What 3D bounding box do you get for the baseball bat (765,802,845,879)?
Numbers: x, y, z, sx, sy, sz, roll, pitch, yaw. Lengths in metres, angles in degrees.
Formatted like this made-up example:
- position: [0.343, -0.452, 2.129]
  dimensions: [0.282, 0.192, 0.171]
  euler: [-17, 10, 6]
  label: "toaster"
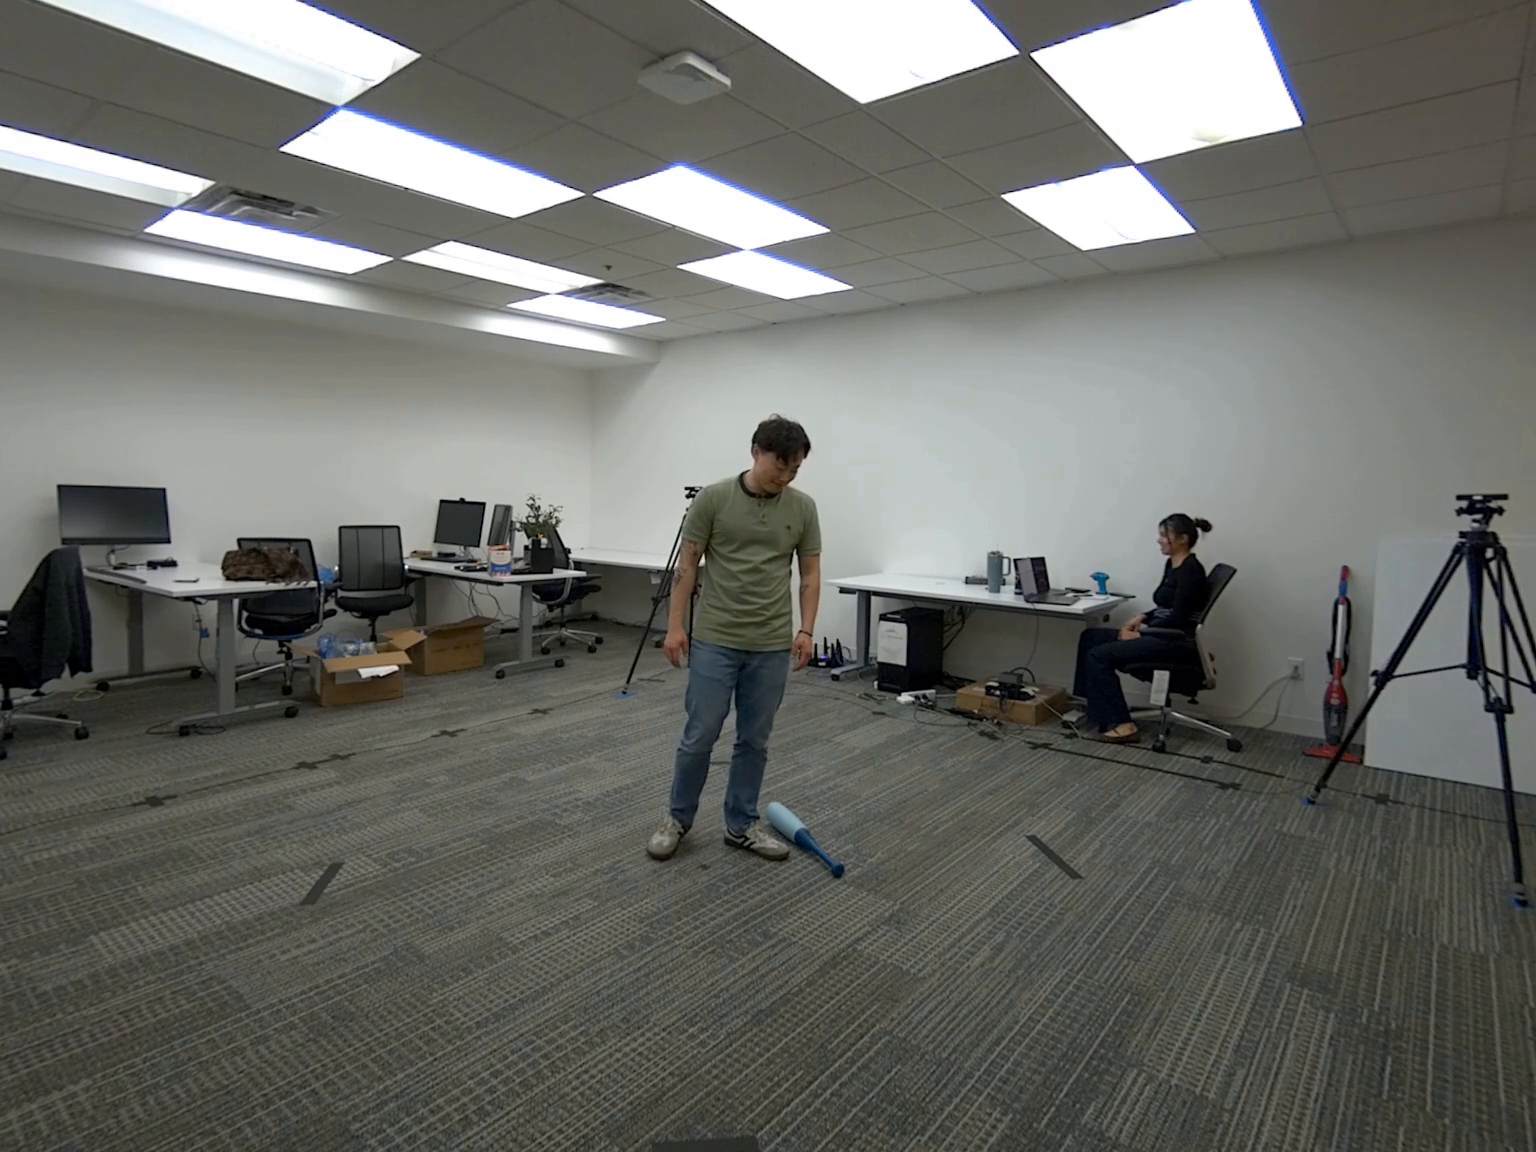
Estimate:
- position: [0.133, 1.016, 3.294]
  dimensions: [0.087, 0.088, 0.559]
  euler: [-1, 9, -24]
  label: "baseball bat"
